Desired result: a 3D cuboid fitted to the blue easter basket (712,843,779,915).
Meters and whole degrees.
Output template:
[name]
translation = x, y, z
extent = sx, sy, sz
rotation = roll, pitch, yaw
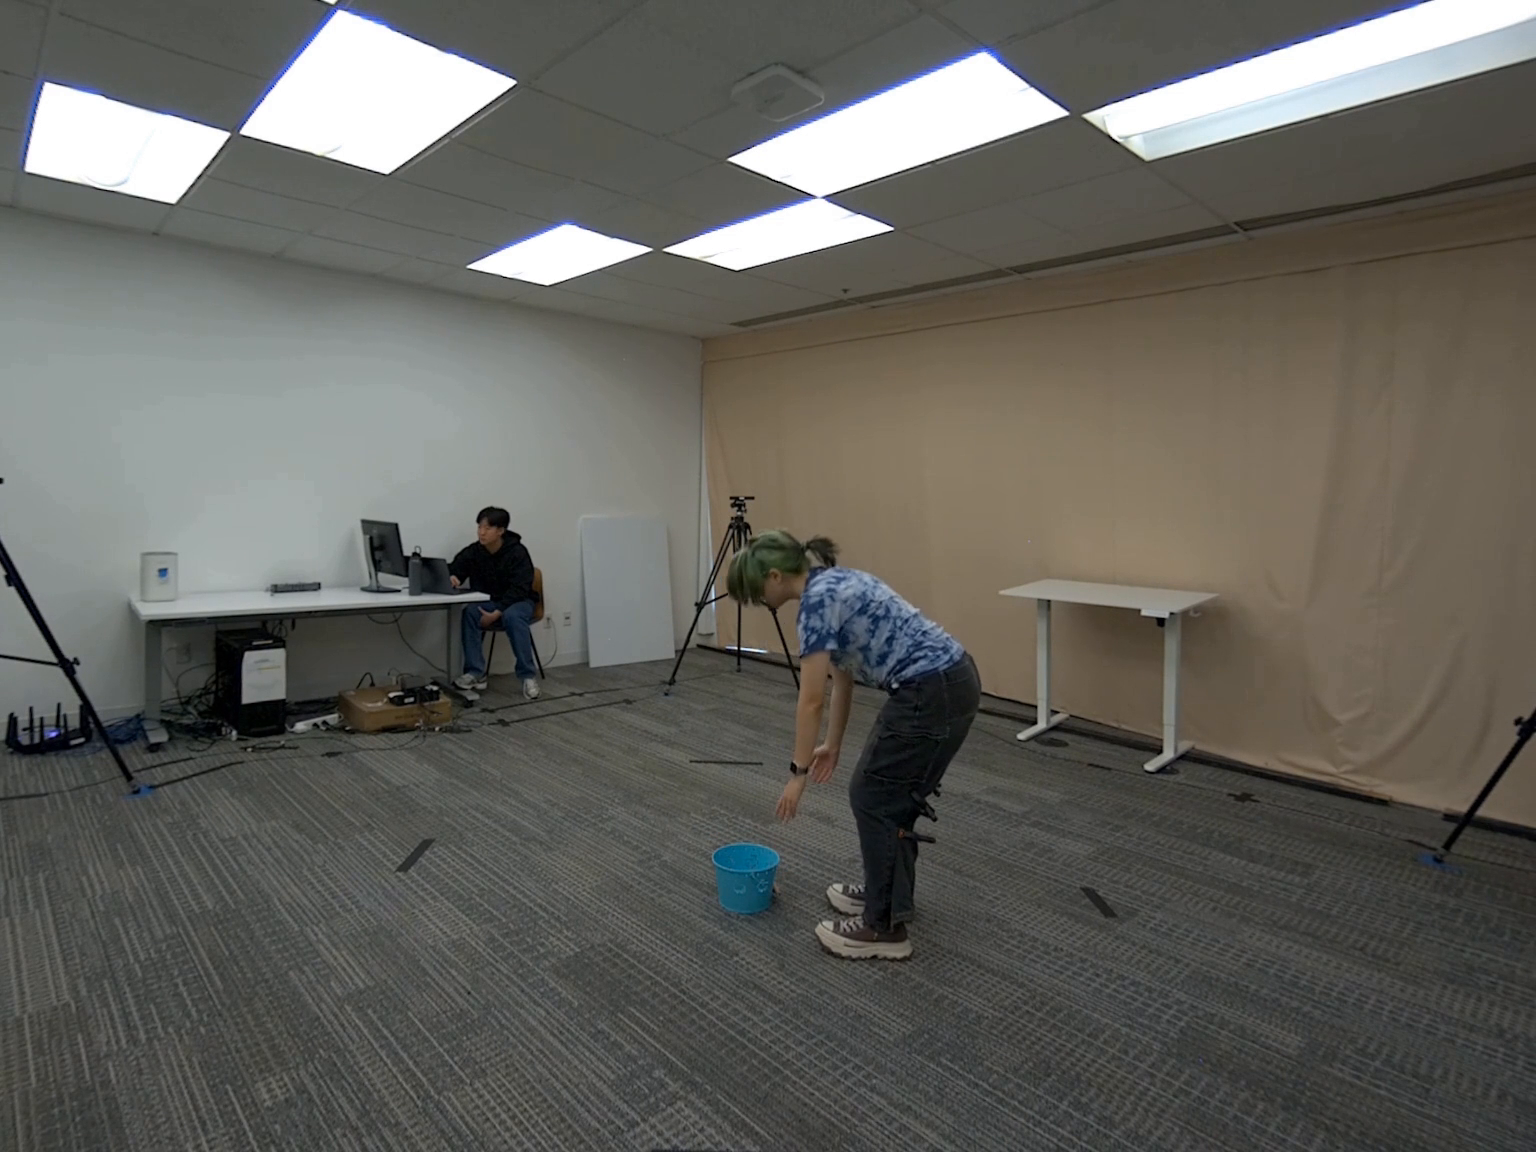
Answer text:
[blue easter basket]
translation = -0.080, 1.044, 2.908
extent = 0.243, 0.155, 0.244
rotation = 2, 3, -1
